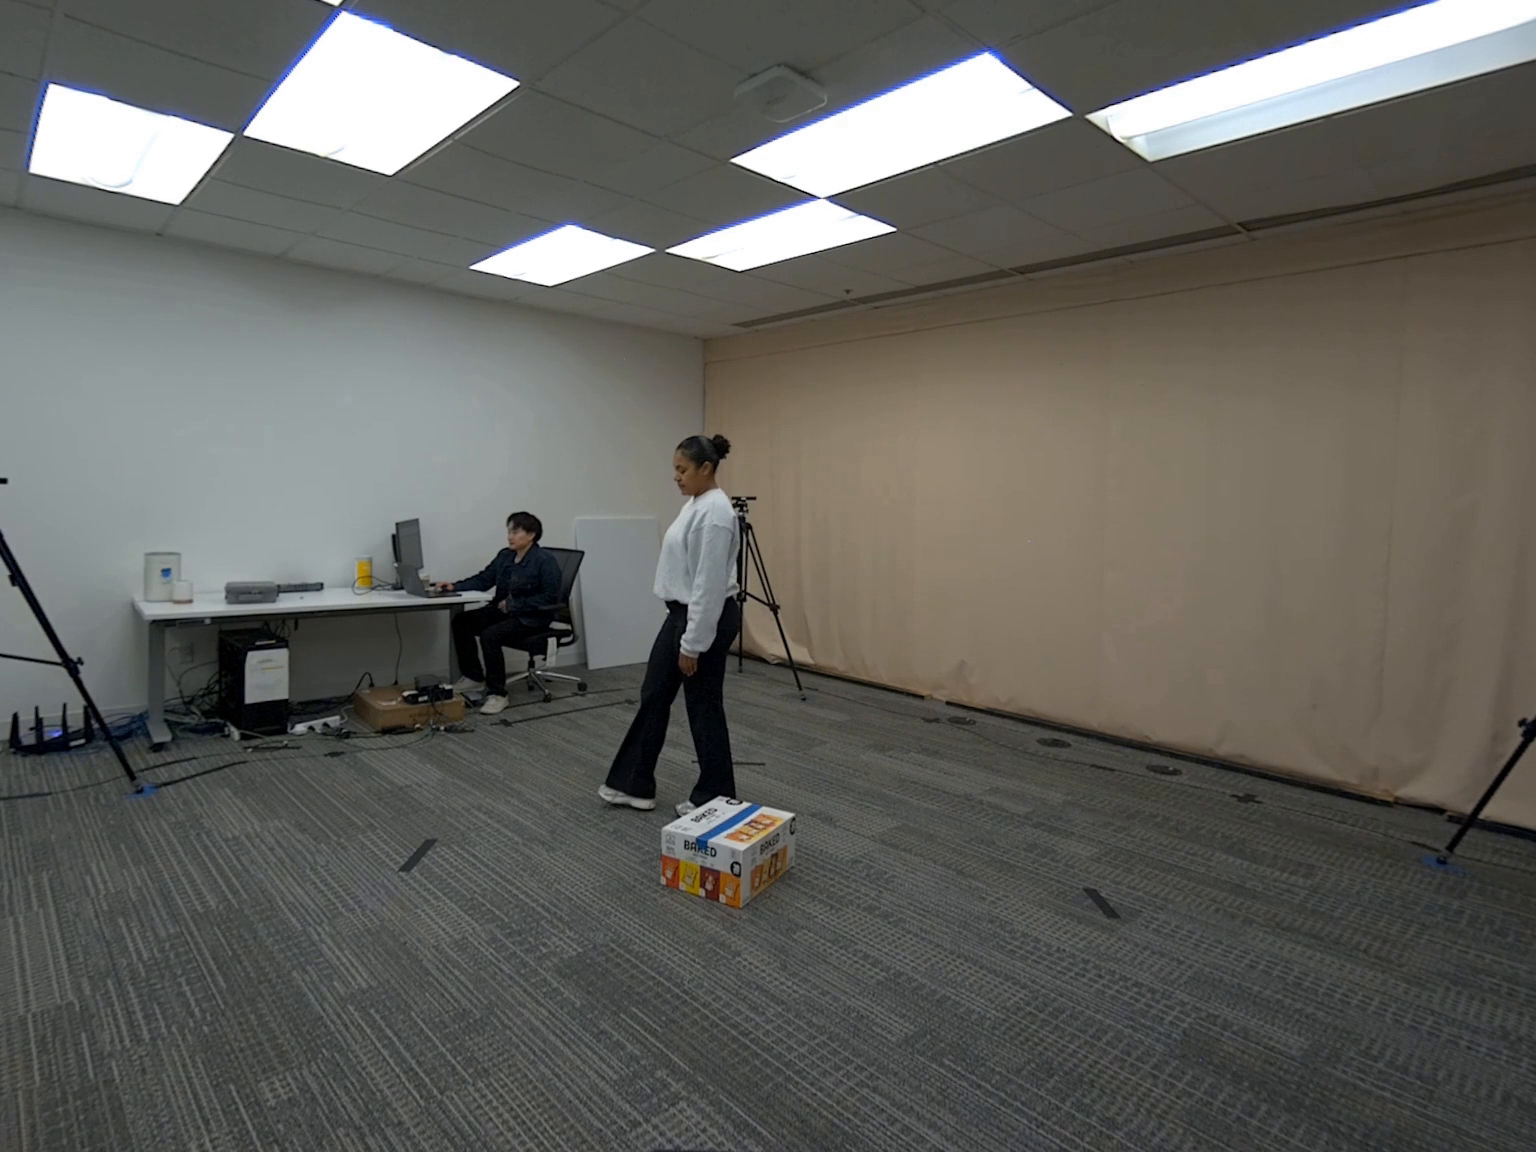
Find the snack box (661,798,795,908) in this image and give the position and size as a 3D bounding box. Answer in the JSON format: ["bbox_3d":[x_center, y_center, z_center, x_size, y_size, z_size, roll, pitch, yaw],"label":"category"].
[{"bbox_3d":[-0.147,1.006,3.102,0.348,0.205,0.397,4,6,29],"label":"snack box"}]
